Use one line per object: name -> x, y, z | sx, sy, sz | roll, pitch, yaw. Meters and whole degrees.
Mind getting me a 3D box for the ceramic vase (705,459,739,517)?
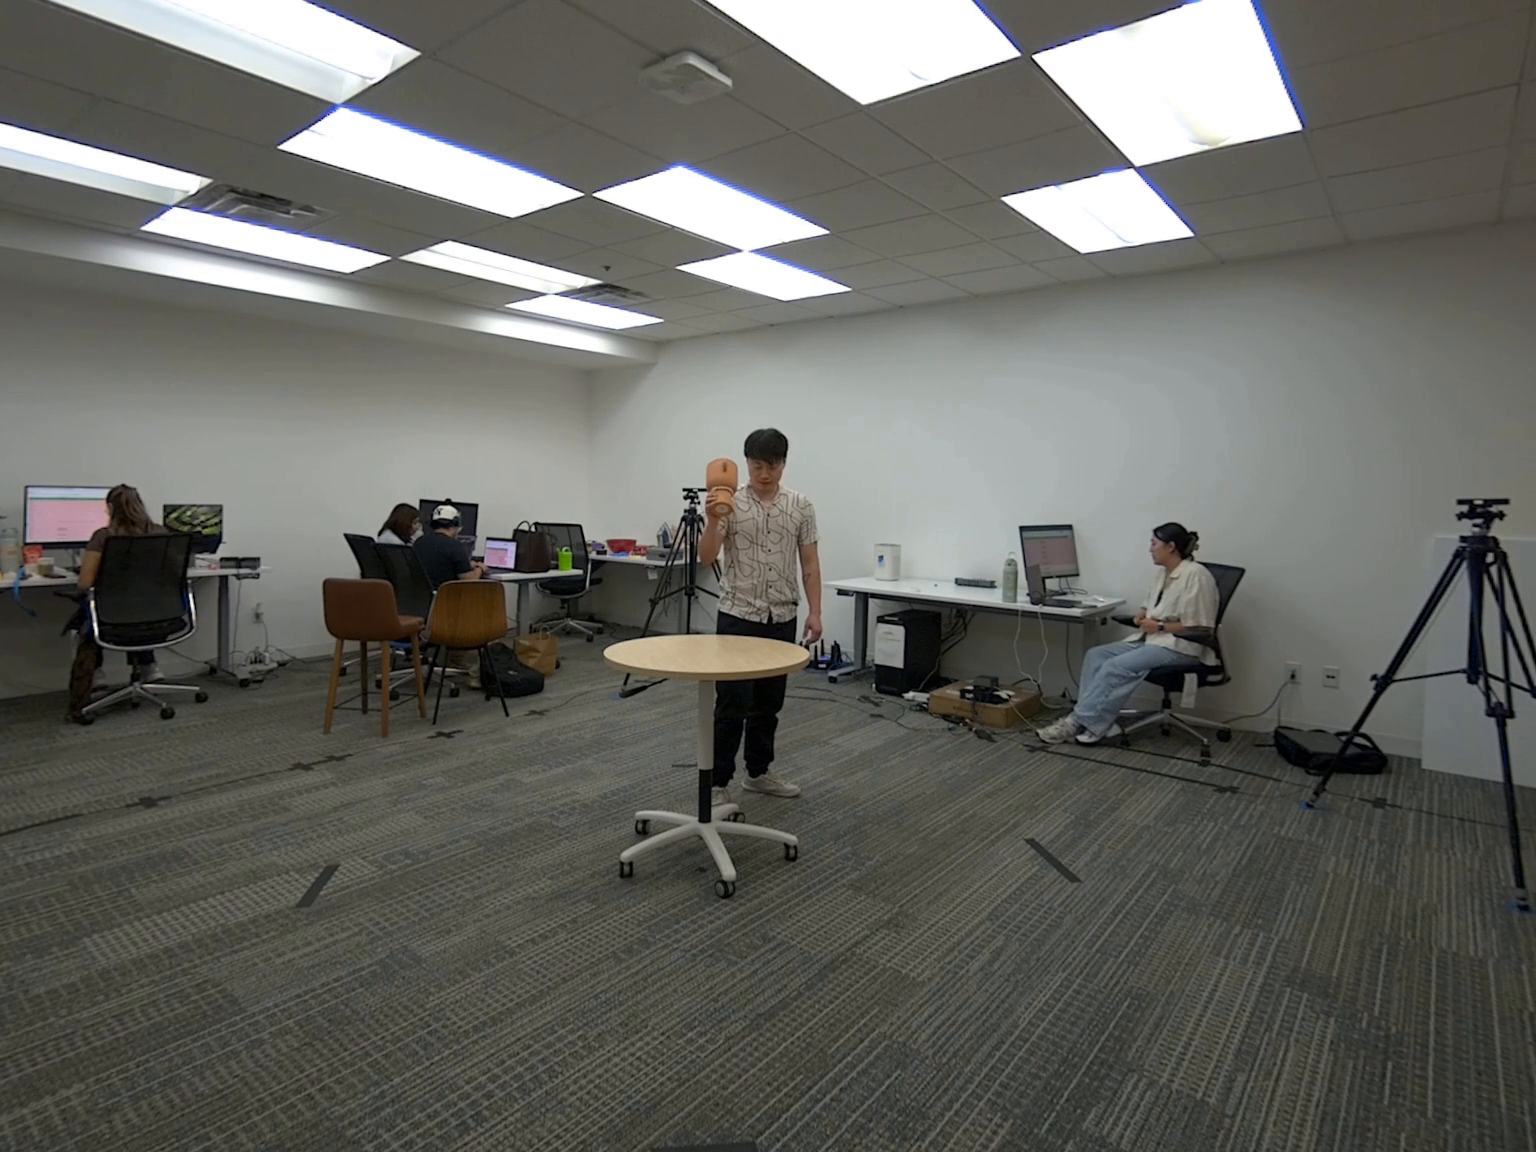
ceramic vase -> -0.202, -0.362, 3.515 | 0.137, 0.225, 0.152 | -18, -39, 25
